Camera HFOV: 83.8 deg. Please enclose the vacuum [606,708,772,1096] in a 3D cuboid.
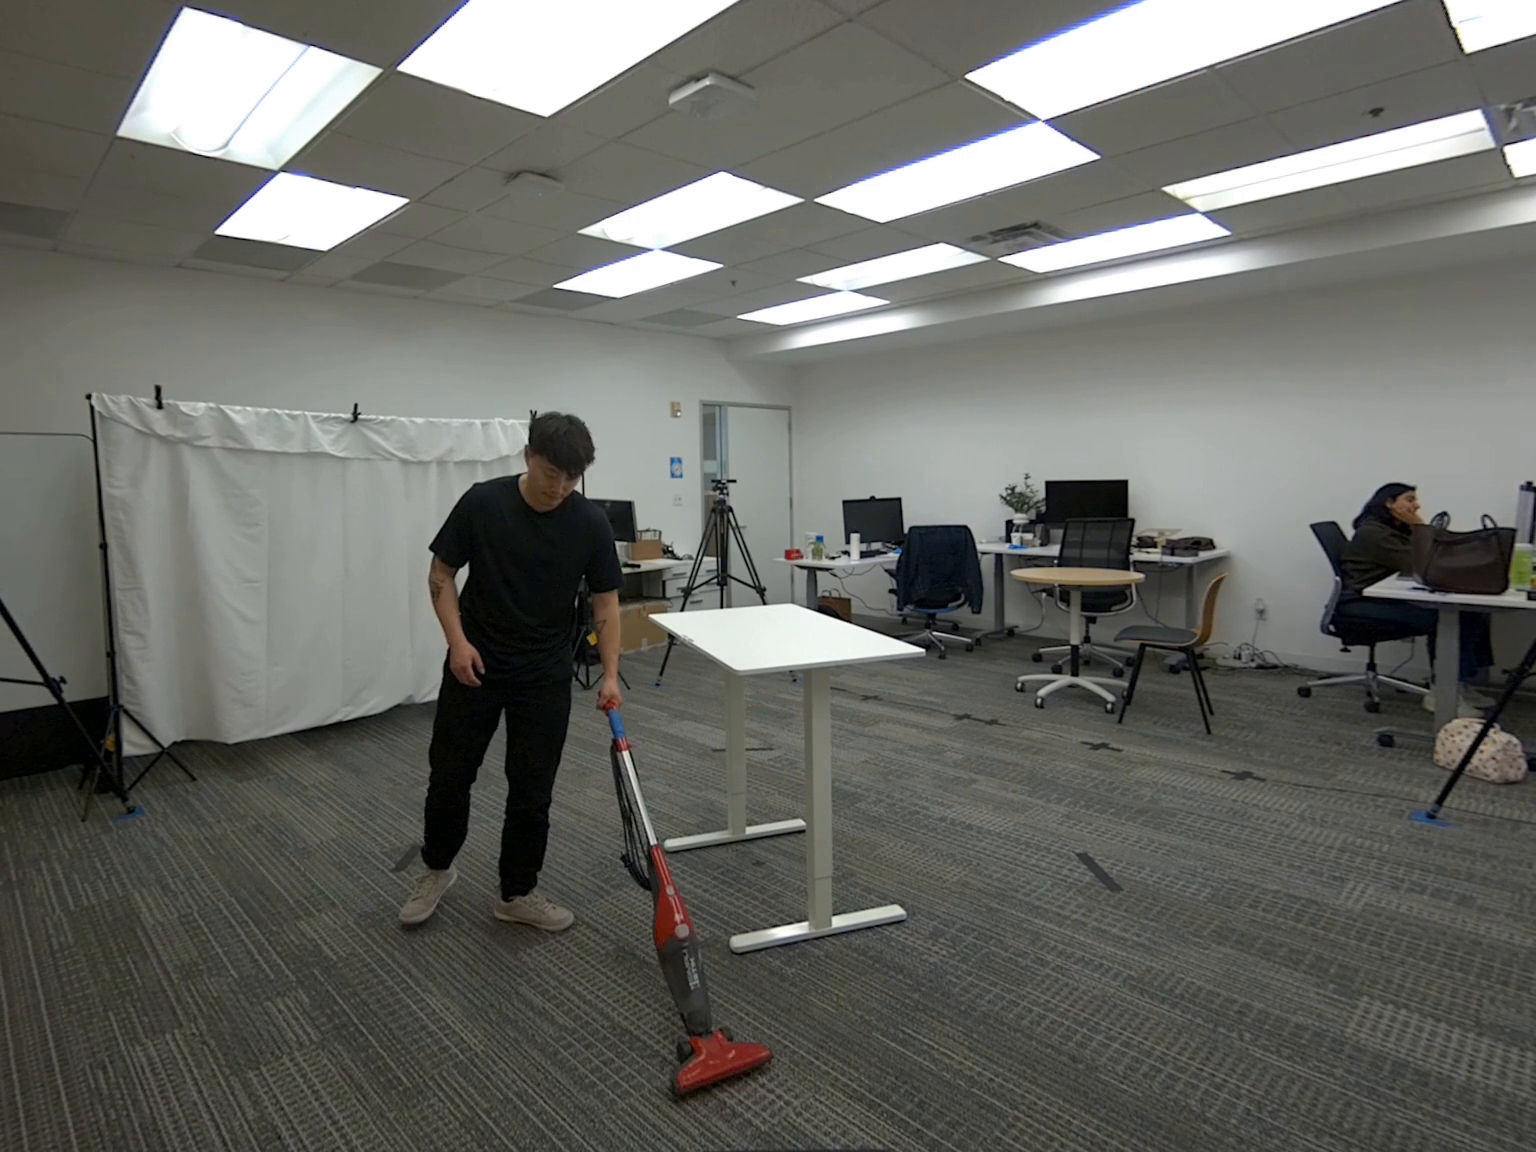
[{"bbox_3d":[-0.319,0.768,2.353,0.248,0.141,1.088,-7,49,-24],"label":"vacuum"}]
